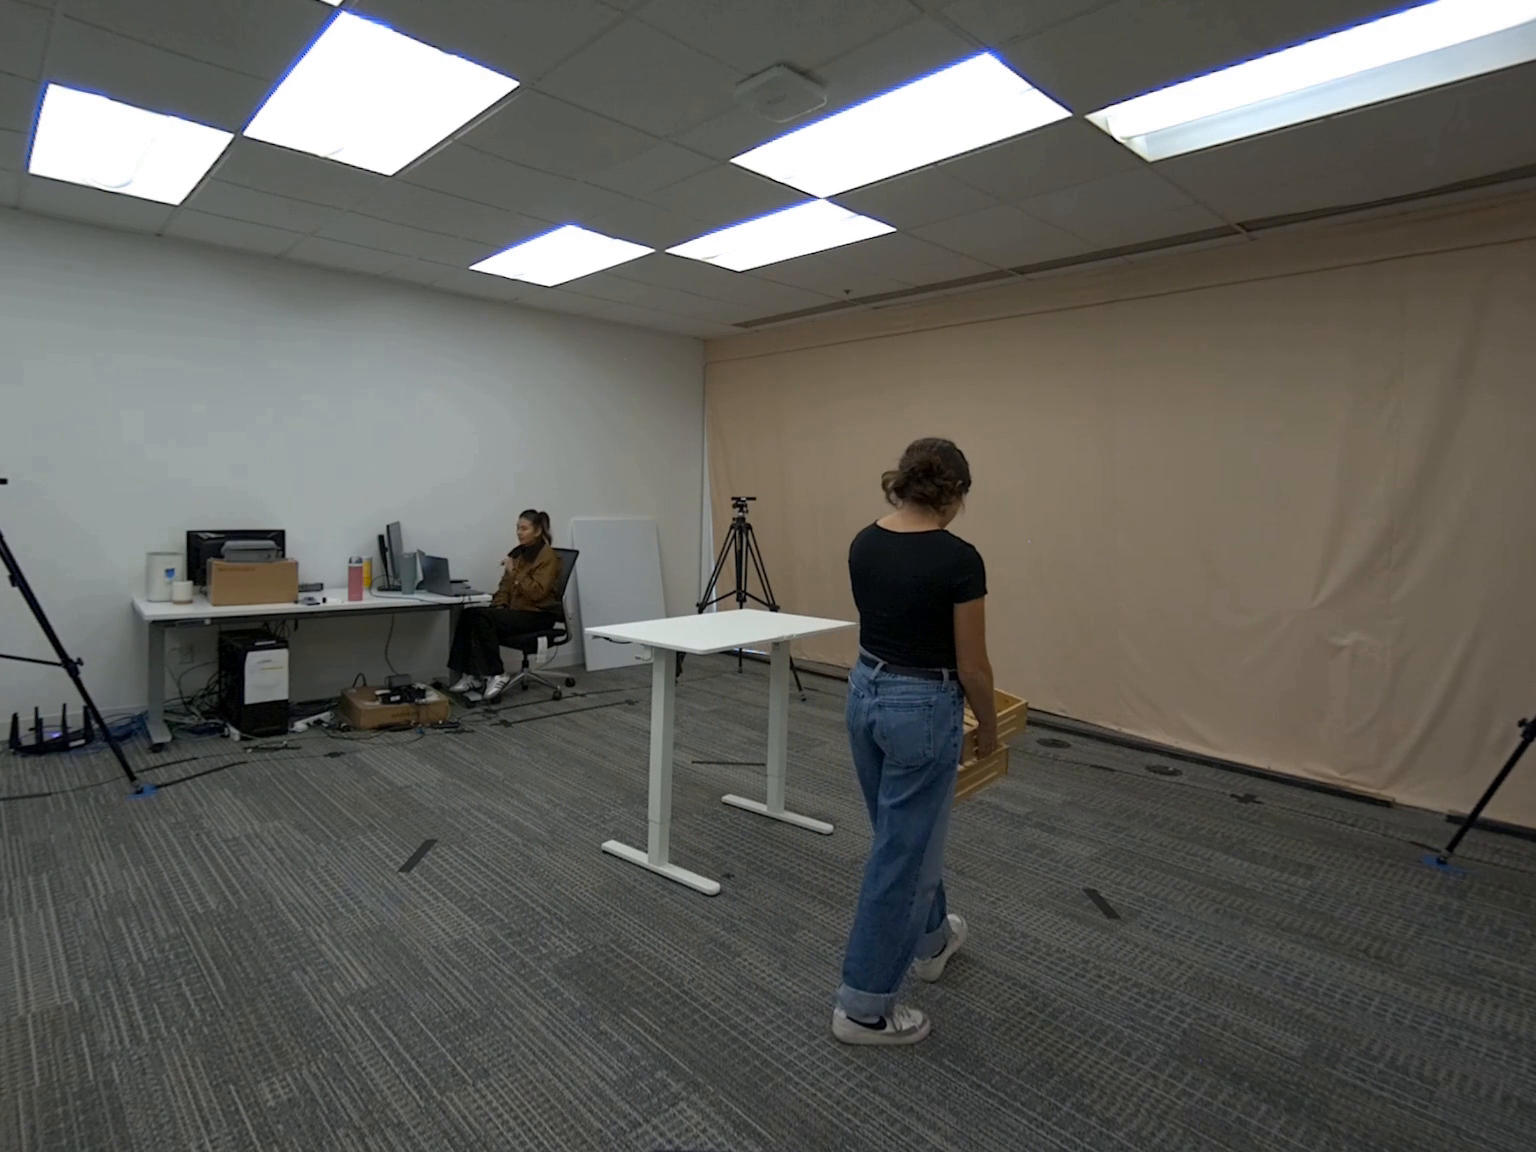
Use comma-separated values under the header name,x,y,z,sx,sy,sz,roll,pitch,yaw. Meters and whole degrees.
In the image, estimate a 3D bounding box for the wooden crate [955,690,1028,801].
name,x,y,z,sx,sy,sz,roll,pitch,yaw
wooden crate,0.544,0.478,2.476,0.319,0.270,0.311,-14,21,-36
